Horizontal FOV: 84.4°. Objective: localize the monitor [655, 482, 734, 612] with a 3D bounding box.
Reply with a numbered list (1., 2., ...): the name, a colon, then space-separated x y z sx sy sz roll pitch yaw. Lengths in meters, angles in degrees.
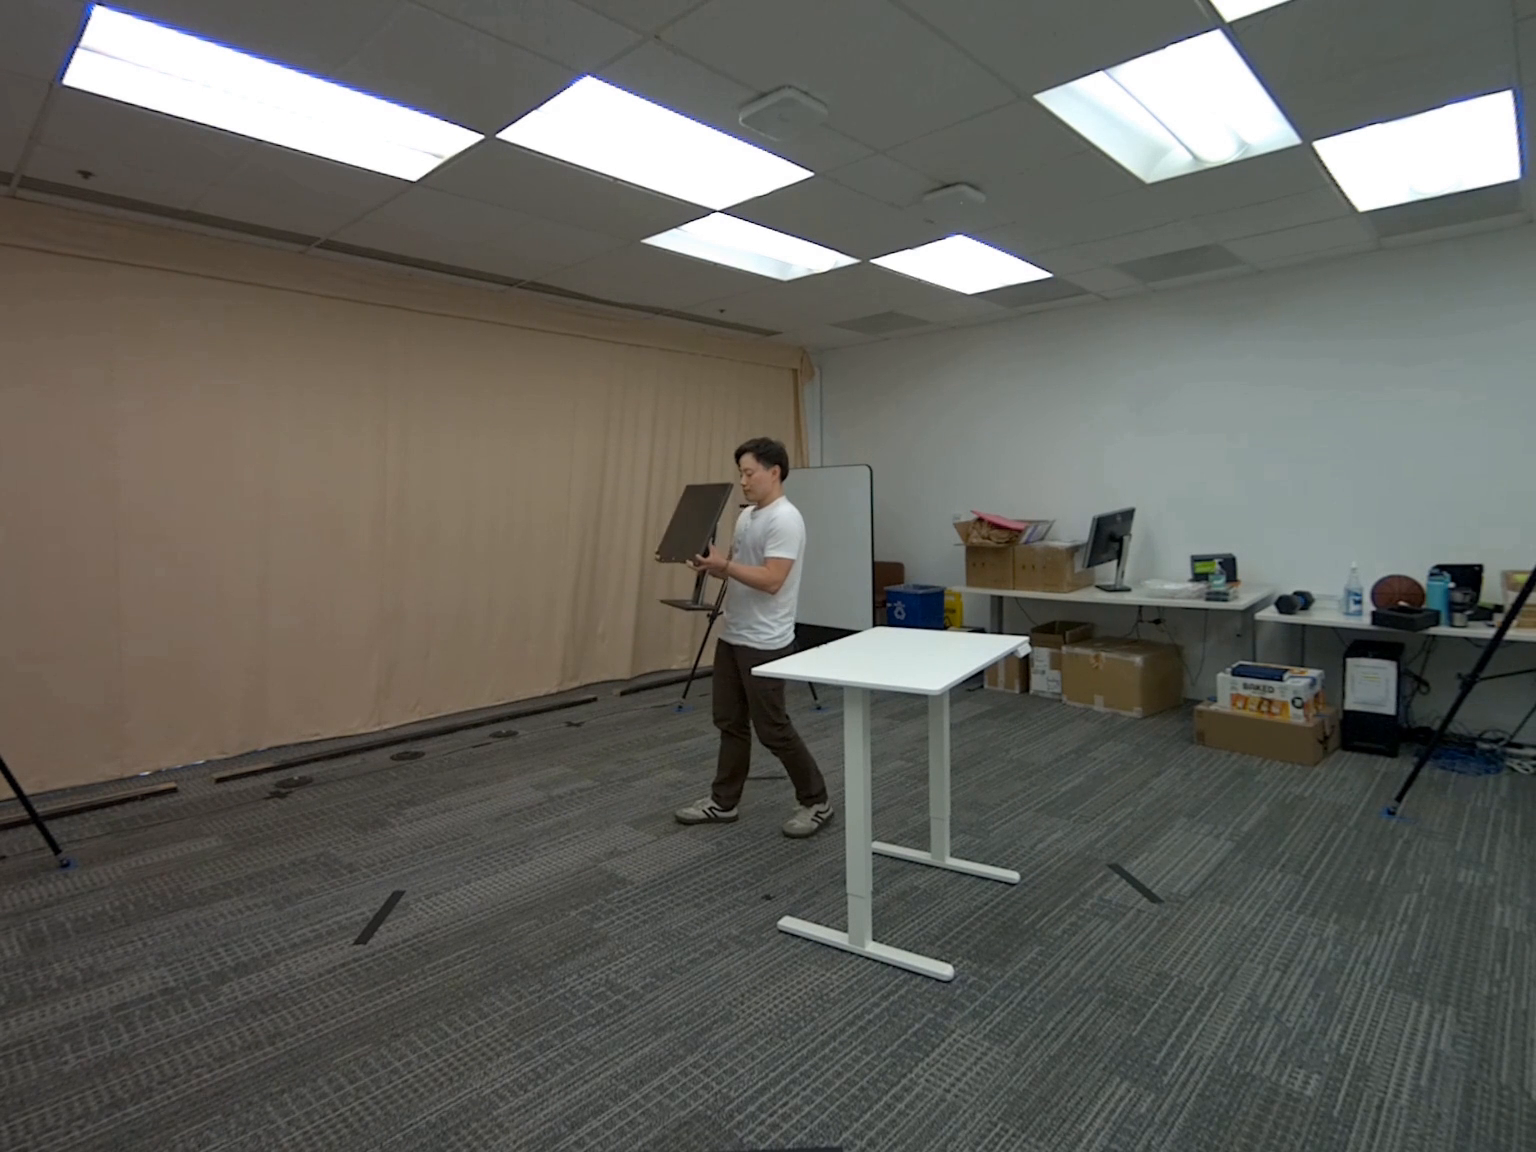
1. monitor: -0.290 -0.128 3.514 0.182 0.522 0.554 9 0 -27
